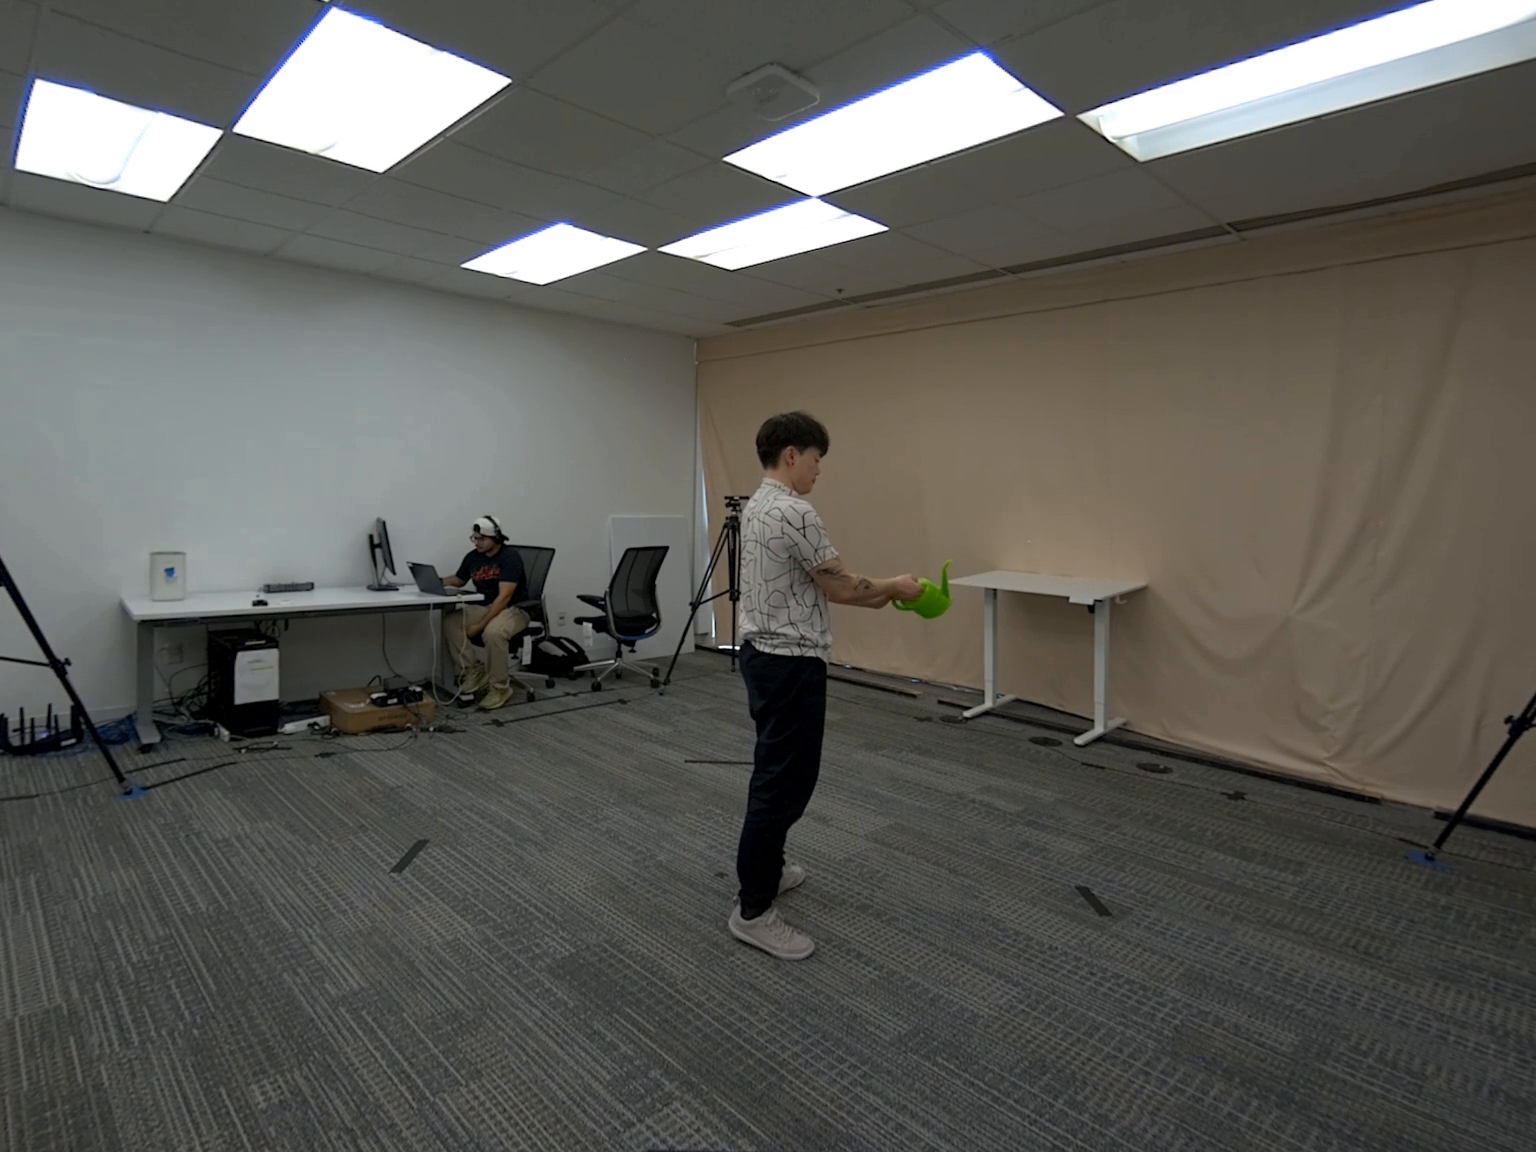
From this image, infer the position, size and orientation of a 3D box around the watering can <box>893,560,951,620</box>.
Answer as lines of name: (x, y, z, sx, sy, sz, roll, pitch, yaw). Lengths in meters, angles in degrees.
watering can: (0.562, 0.062, 2.898, 0.172, 0.100, 0.281, 26, -37, -35)
